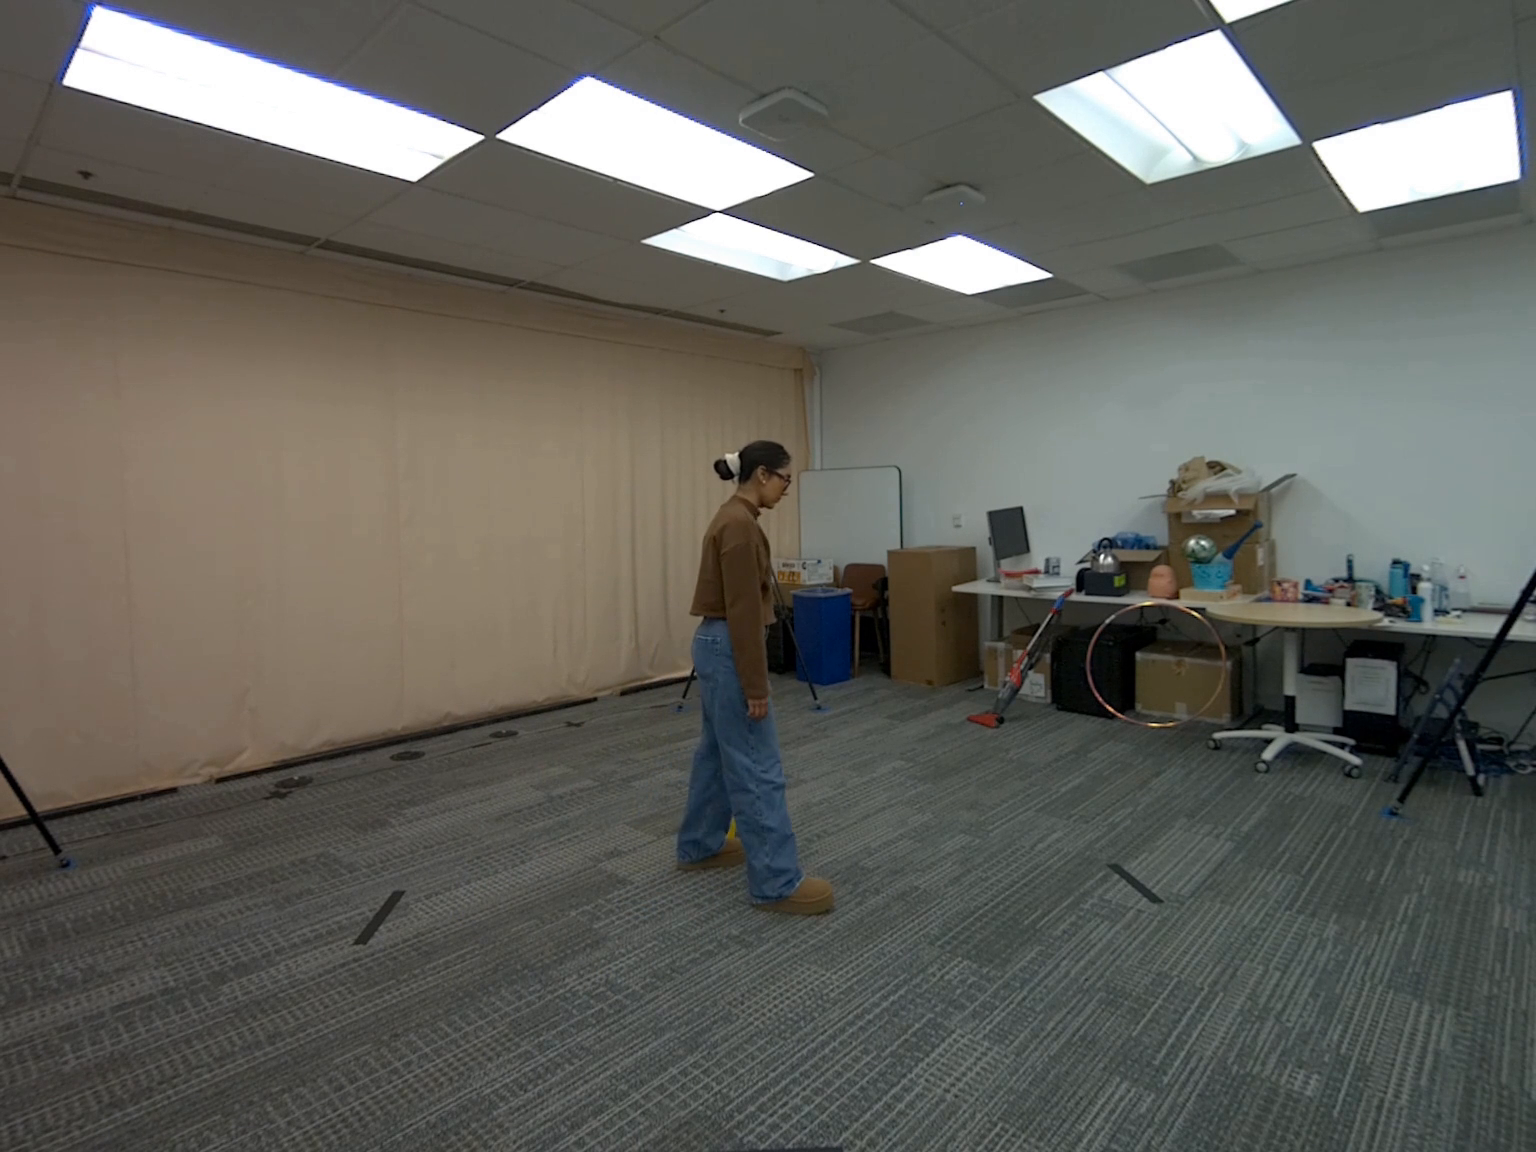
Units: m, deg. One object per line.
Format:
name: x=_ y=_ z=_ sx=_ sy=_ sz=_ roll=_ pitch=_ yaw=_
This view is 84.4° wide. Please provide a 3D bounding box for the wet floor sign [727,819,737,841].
wet floor sign: x=-0.089 y=0.767 z=3.538 sx=0.284 sy=0.645 sz=0.288 roll=-2 pitch=3 yaw=-21
